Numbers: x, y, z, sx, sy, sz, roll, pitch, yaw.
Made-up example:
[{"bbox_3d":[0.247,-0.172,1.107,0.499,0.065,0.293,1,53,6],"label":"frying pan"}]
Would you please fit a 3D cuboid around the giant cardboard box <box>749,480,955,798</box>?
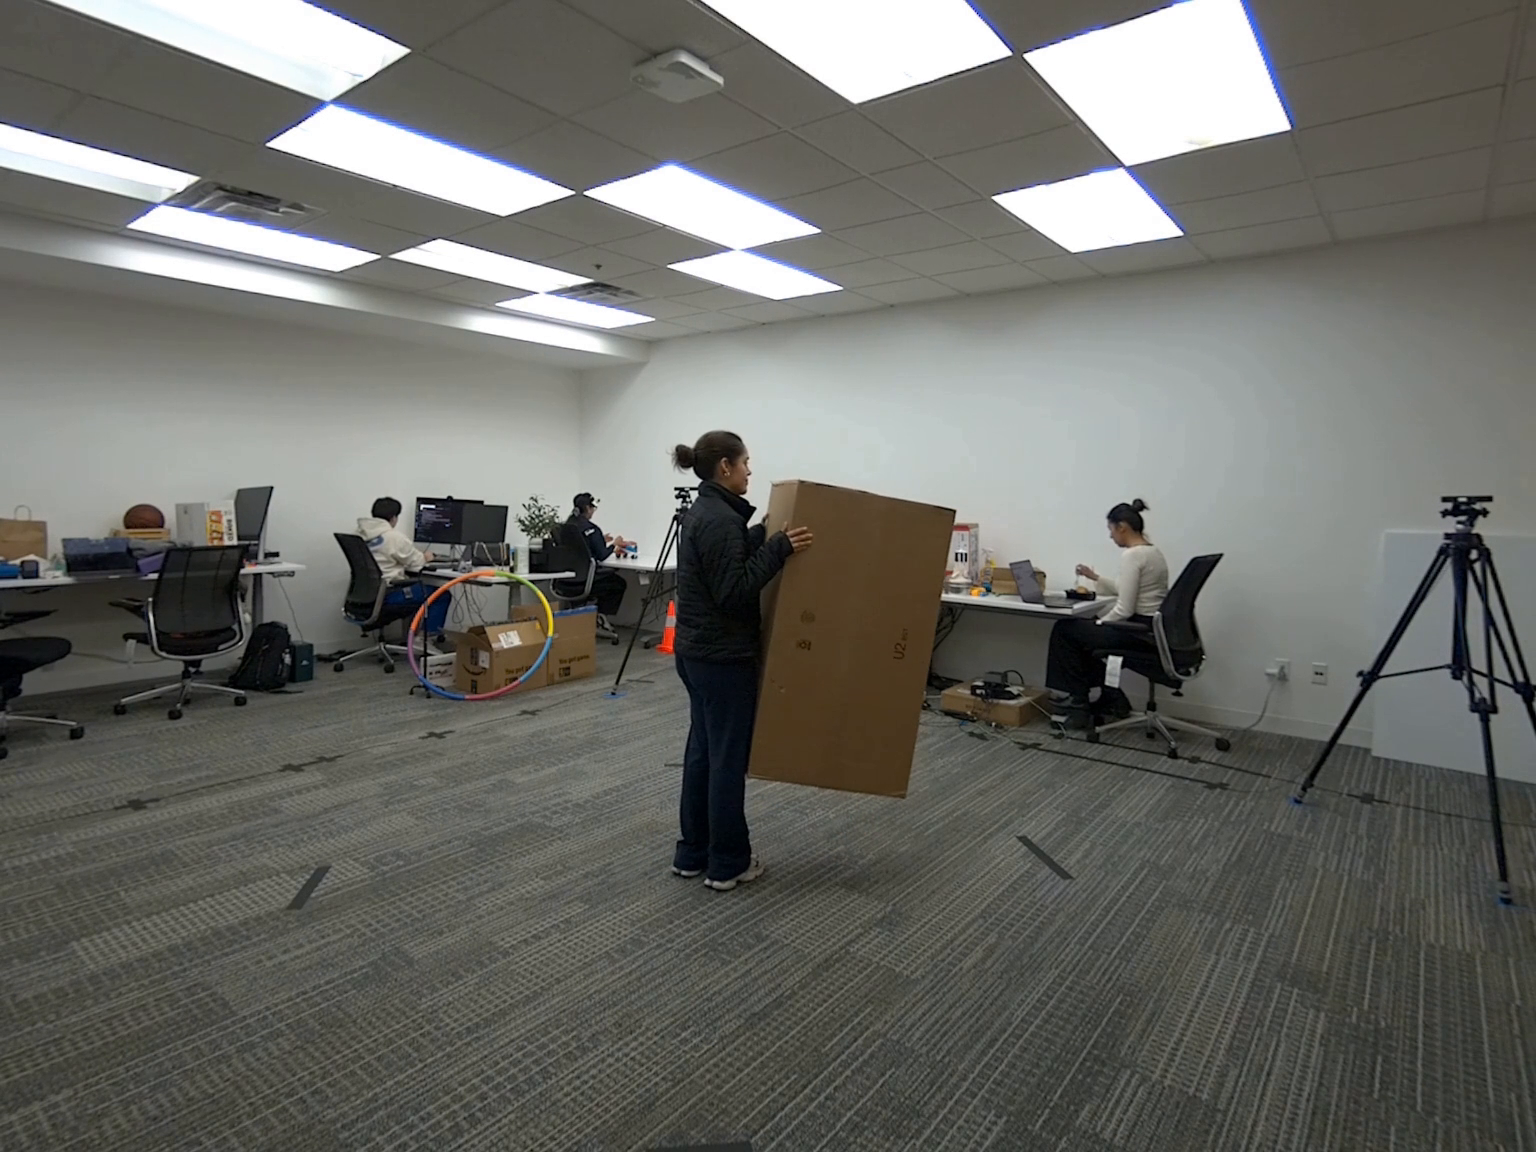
[{"bbox_3d":[0.262,0.206,3.127,0.572,1.024,0.431,9,2,-9],"label":"giant cardboard box"}]
